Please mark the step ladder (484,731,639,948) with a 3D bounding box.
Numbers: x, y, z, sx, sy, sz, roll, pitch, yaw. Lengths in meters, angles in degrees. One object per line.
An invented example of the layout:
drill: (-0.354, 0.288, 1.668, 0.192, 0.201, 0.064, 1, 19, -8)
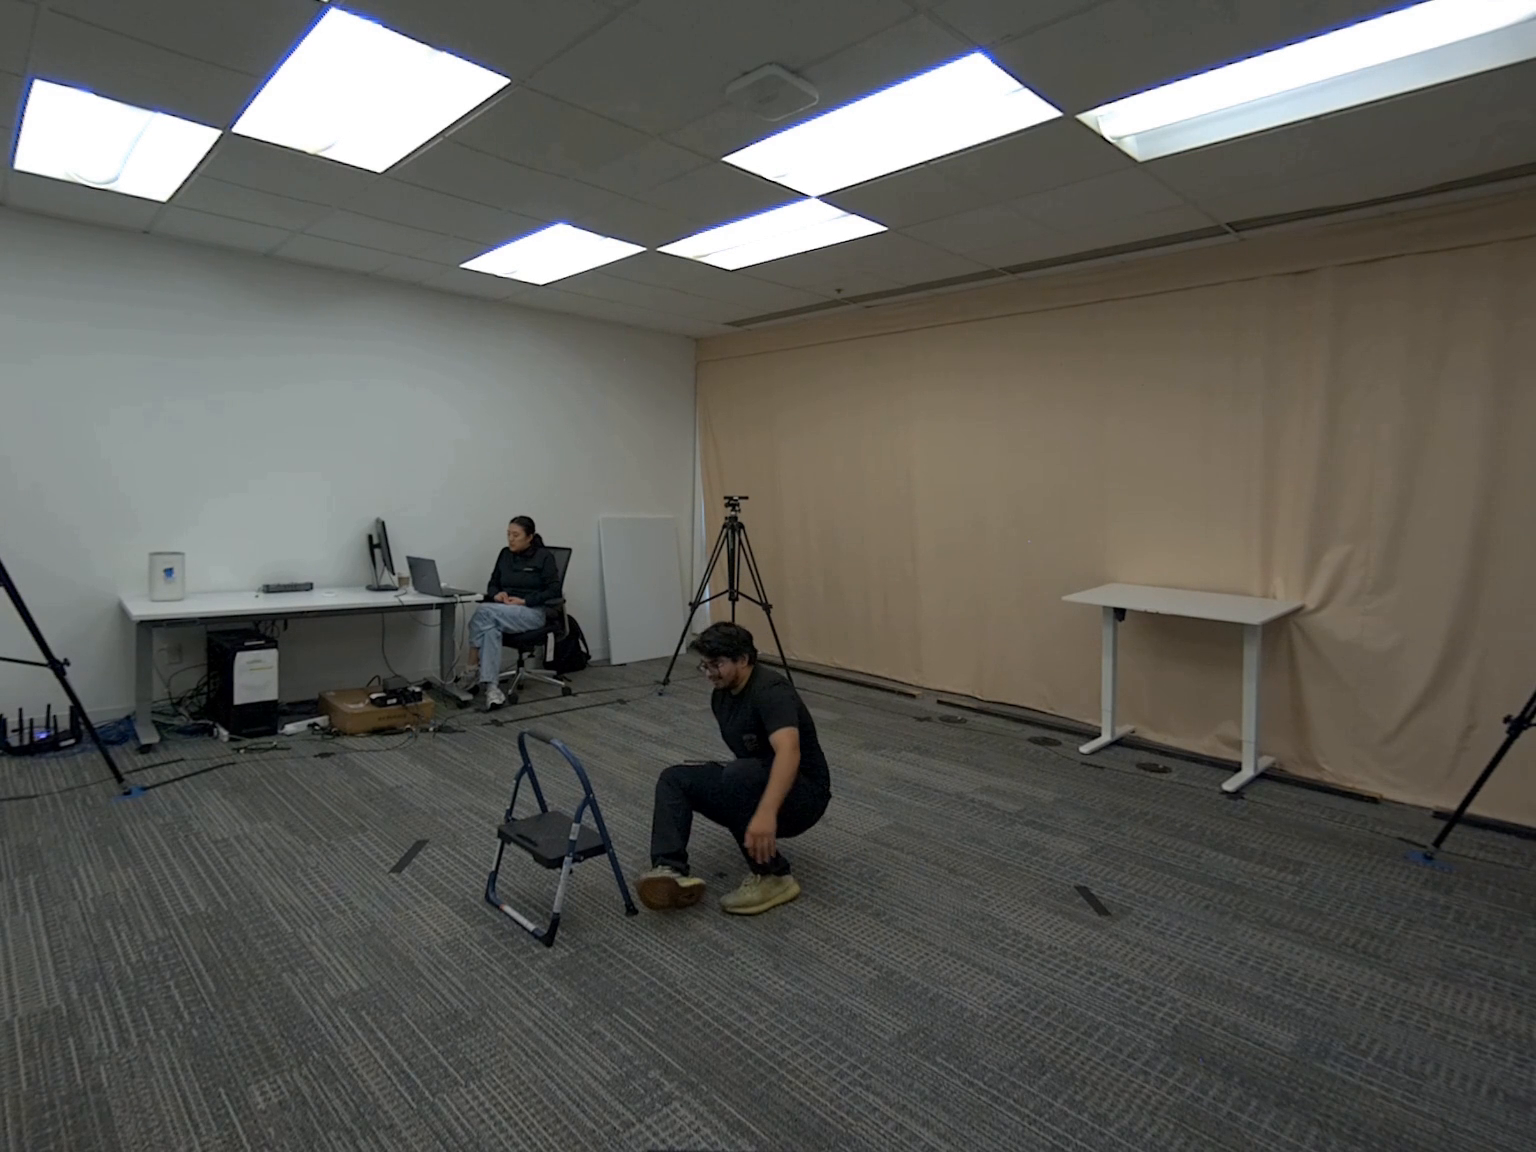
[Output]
step ladder: (-0.699, 0.815, 2.824, 0.341, 0.605, 0.441, -2, 5, -45)
